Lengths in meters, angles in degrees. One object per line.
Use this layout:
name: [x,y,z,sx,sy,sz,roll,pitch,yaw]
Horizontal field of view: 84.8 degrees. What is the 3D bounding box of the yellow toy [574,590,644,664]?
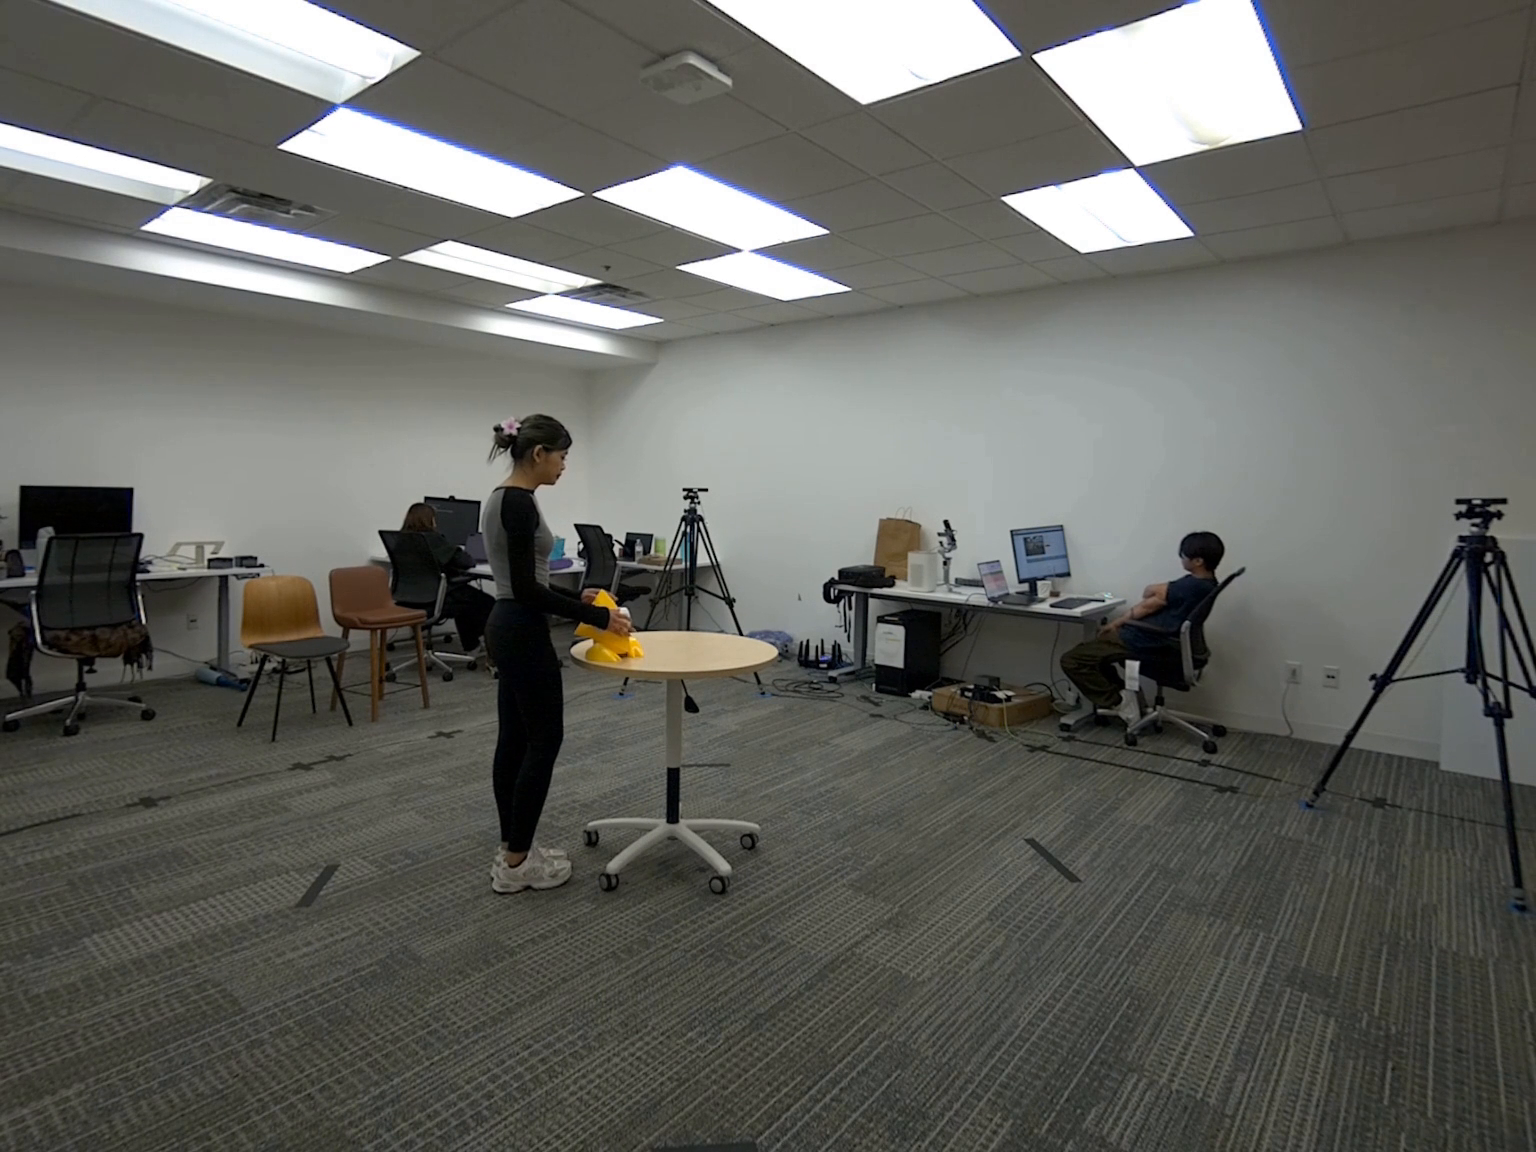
yellow toy: [-0.563,0.173,3.006,0.199,0.229,0.199,5,7,39]
